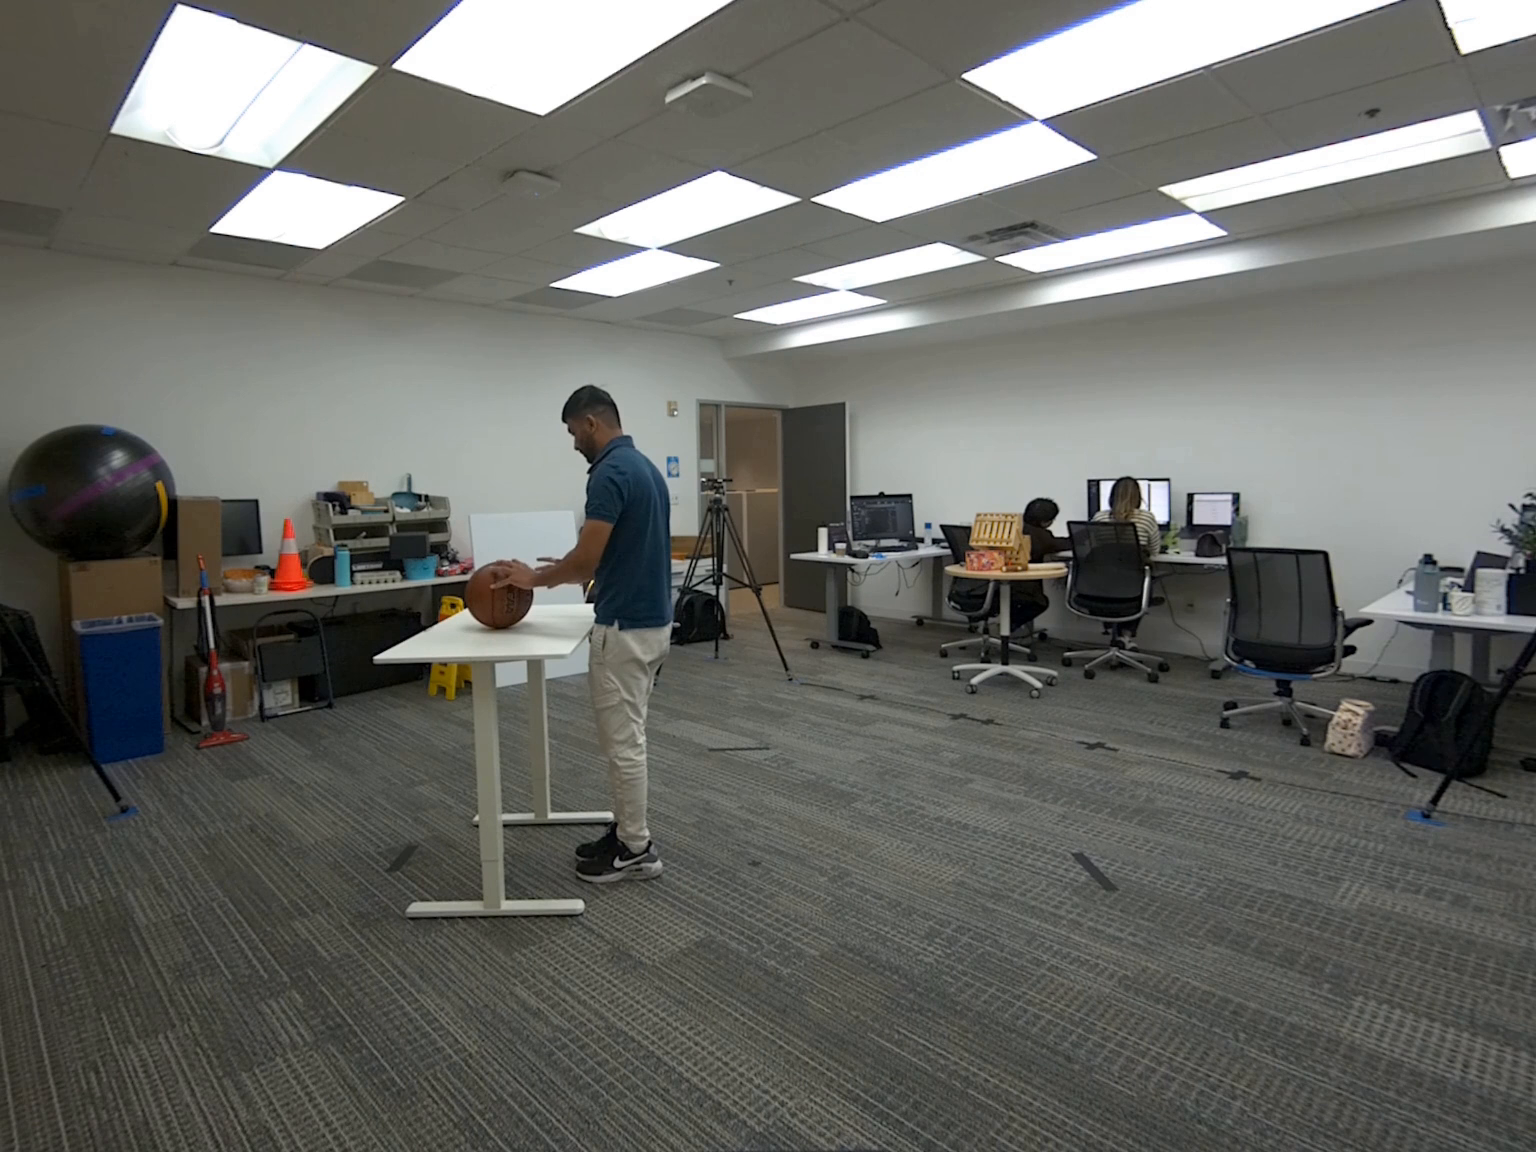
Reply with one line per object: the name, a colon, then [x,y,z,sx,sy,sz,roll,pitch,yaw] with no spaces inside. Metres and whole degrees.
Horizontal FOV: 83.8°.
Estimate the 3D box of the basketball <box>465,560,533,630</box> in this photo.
basketball: [-0.958,0.066,3.069,0.236,0.235,0.237,-1,5,-2]
